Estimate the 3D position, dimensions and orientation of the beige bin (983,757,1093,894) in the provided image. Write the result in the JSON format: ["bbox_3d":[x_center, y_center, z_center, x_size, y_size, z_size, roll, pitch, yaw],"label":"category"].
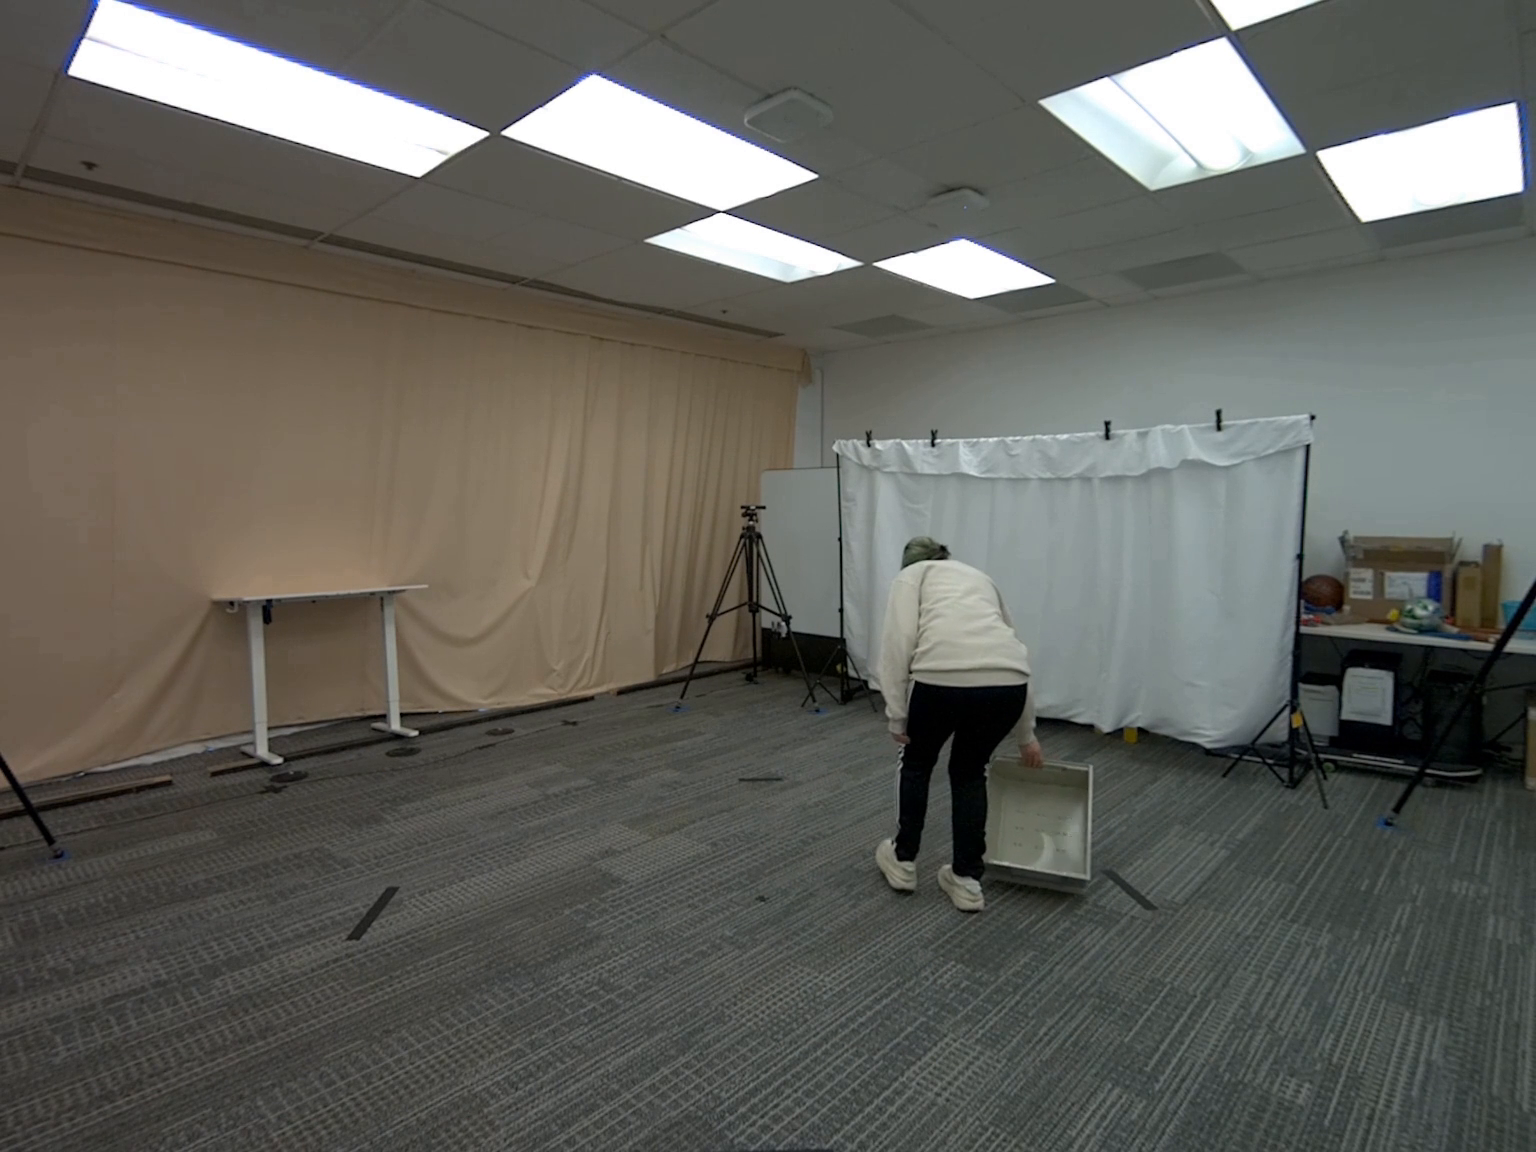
[{"bbox_3d":[0.999,0.915,3.126,0.387,0.425,0.183,1,-38,24],"label":"beige bin"}]
